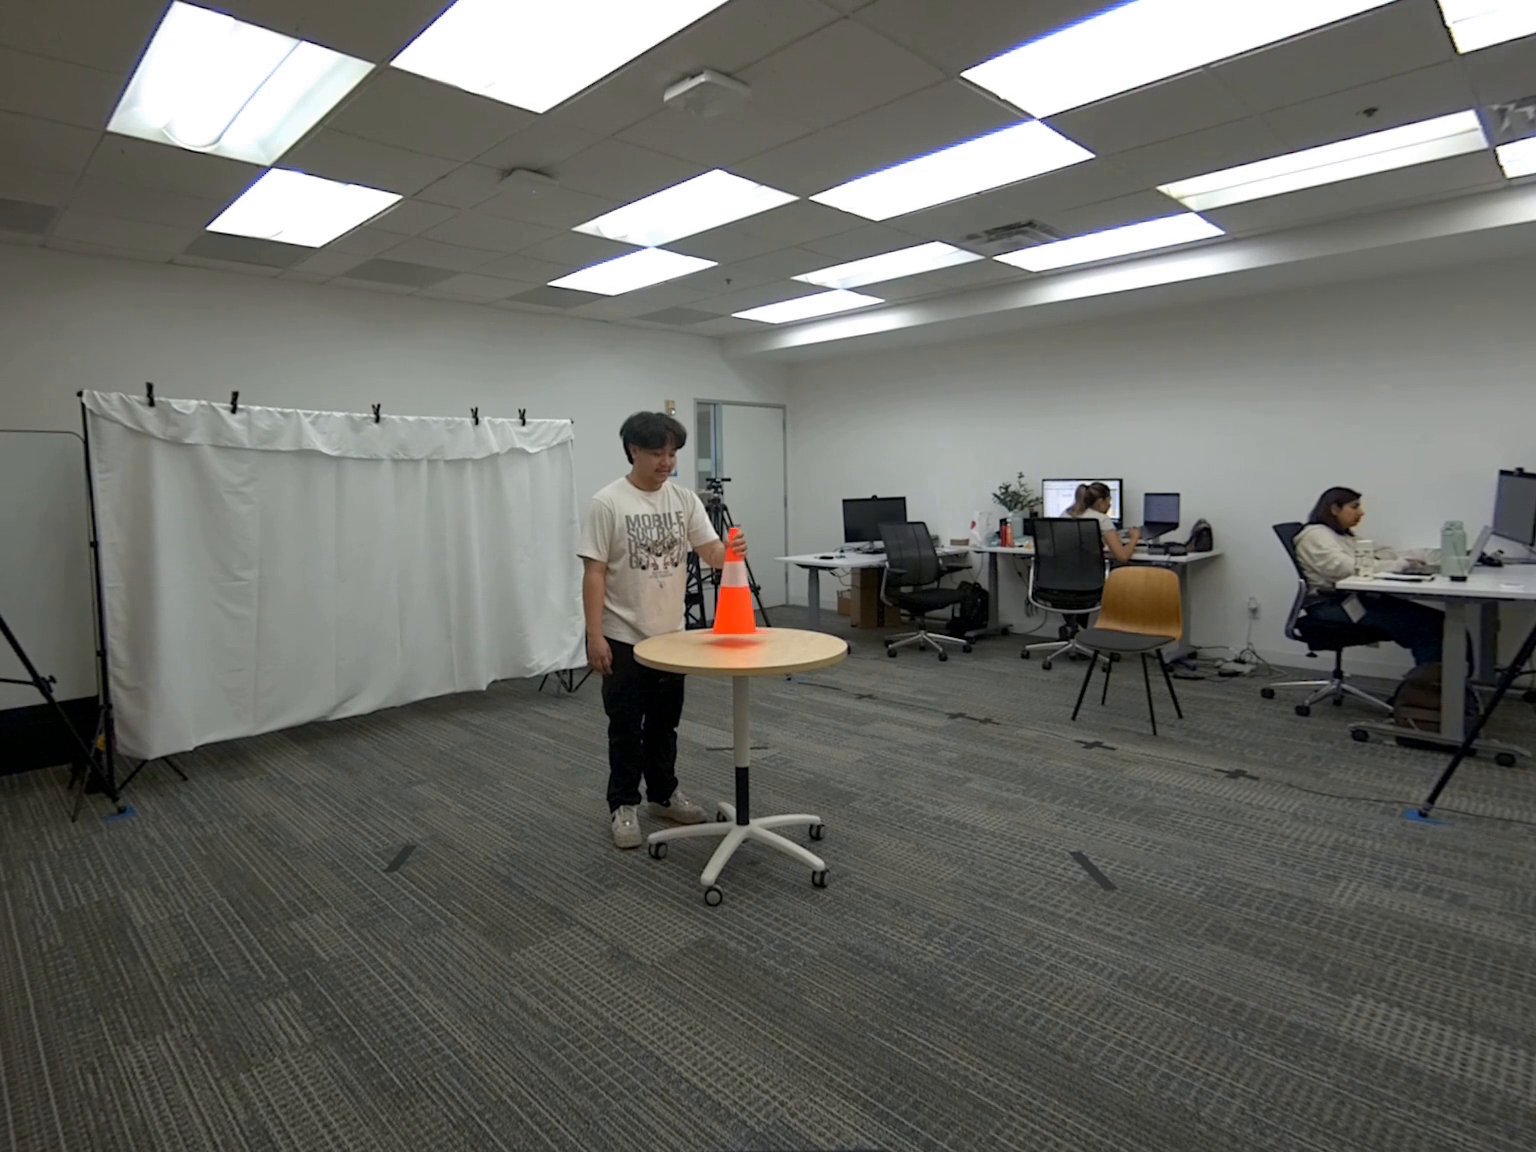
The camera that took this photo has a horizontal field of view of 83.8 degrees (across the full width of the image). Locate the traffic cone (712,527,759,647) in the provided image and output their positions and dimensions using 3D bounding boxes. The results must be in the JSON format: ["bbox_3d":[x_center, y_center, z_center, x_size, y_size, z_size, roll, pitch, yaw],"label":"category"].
[{"bbox_3d":[-0.126,0.023,3.119,0.209,0.383,0.200,0,2,32],"label":"traffic cone"}]
